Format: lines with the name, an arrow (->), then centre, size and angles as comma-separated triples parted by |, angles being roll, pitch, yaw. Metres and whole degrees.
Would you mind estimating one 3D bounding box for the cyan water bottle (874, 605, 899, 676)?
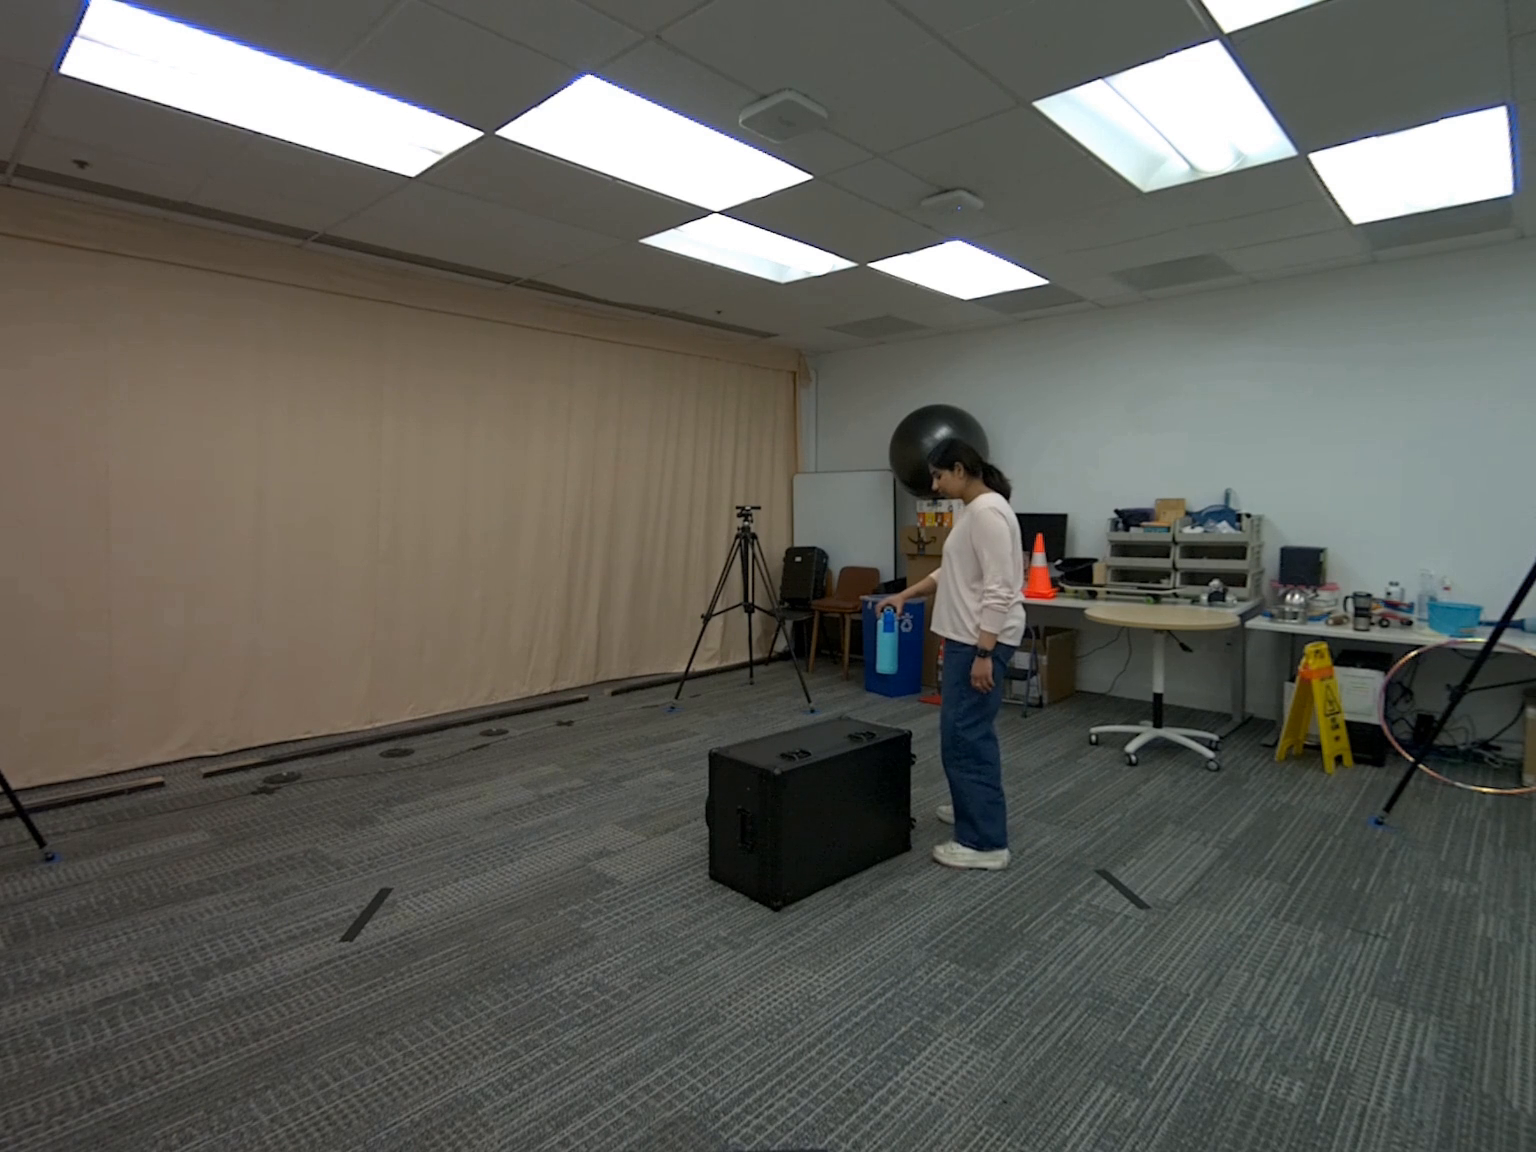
cyan water bottle -> 0.530, 0.280, 3.626 | 0.092, 0.283, 0.092 | 0, 3, -2
